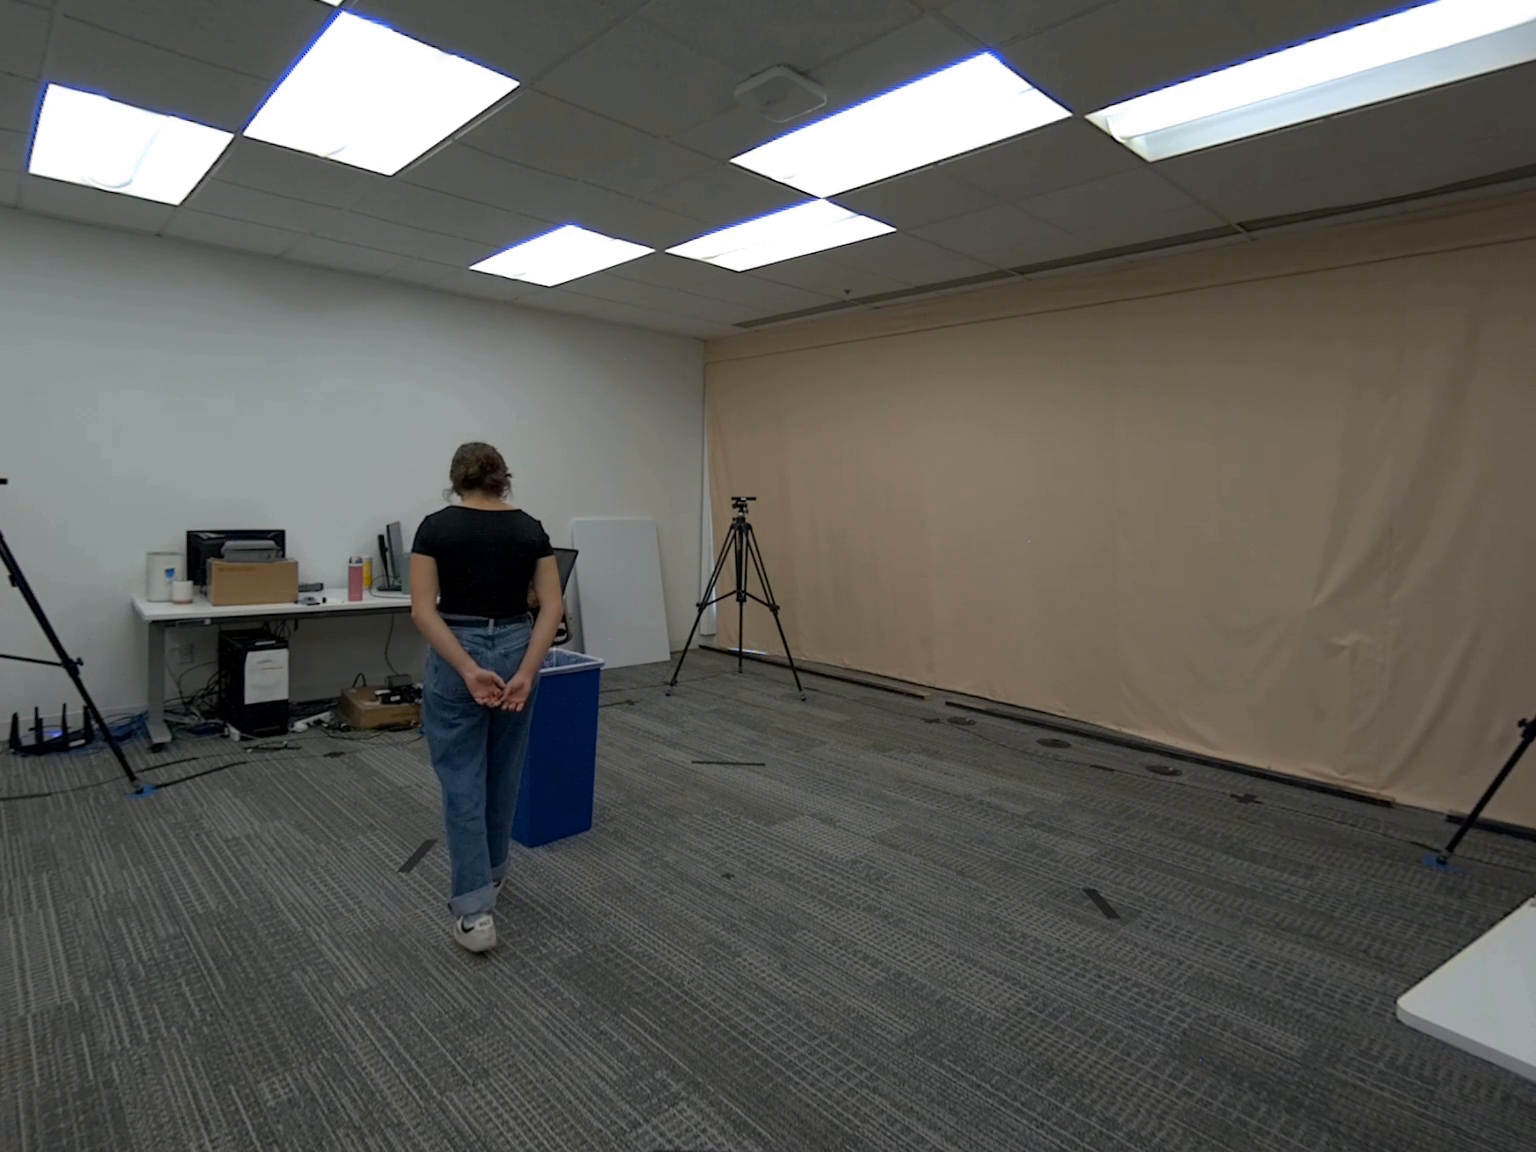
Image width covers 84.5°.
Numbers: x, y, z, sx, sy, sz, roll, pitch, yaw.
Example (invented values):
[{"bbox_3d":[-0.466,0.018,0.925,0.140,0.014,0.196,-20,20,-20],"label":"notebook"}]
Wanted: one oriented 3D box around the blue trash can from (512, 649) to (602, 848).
[{"bbox_3d":[-0.937,0.696,3.502,0.388,0.711,0.365,5,5,43],"label":"blue trash can"}]
